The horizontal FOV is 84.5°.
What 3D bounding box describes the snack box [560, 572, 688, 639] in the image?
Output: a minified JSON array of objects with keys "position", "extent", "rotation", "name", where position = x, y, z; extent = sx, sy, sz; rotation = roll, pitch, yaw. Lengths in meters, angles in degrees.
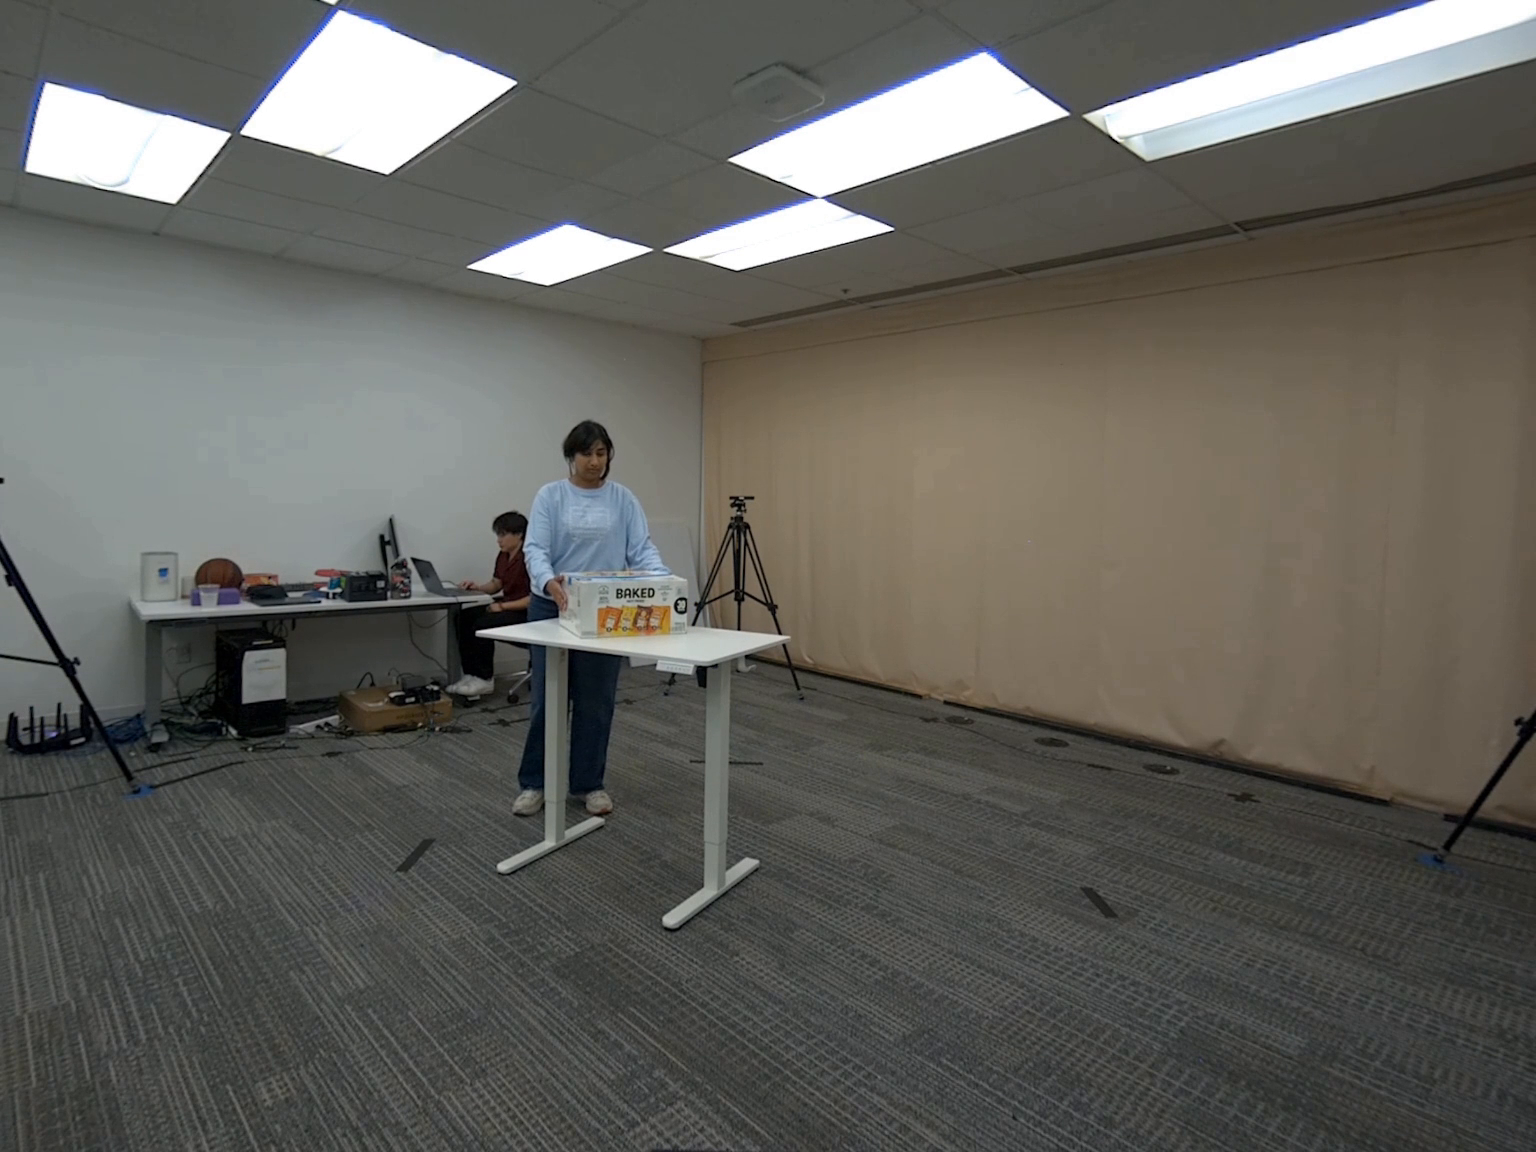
[{"position":[-0.560,0.100,3.193],"extent":[0.398,0.205,0.347],"rotation":[-1,5,-25],"name":"snack box"}]
